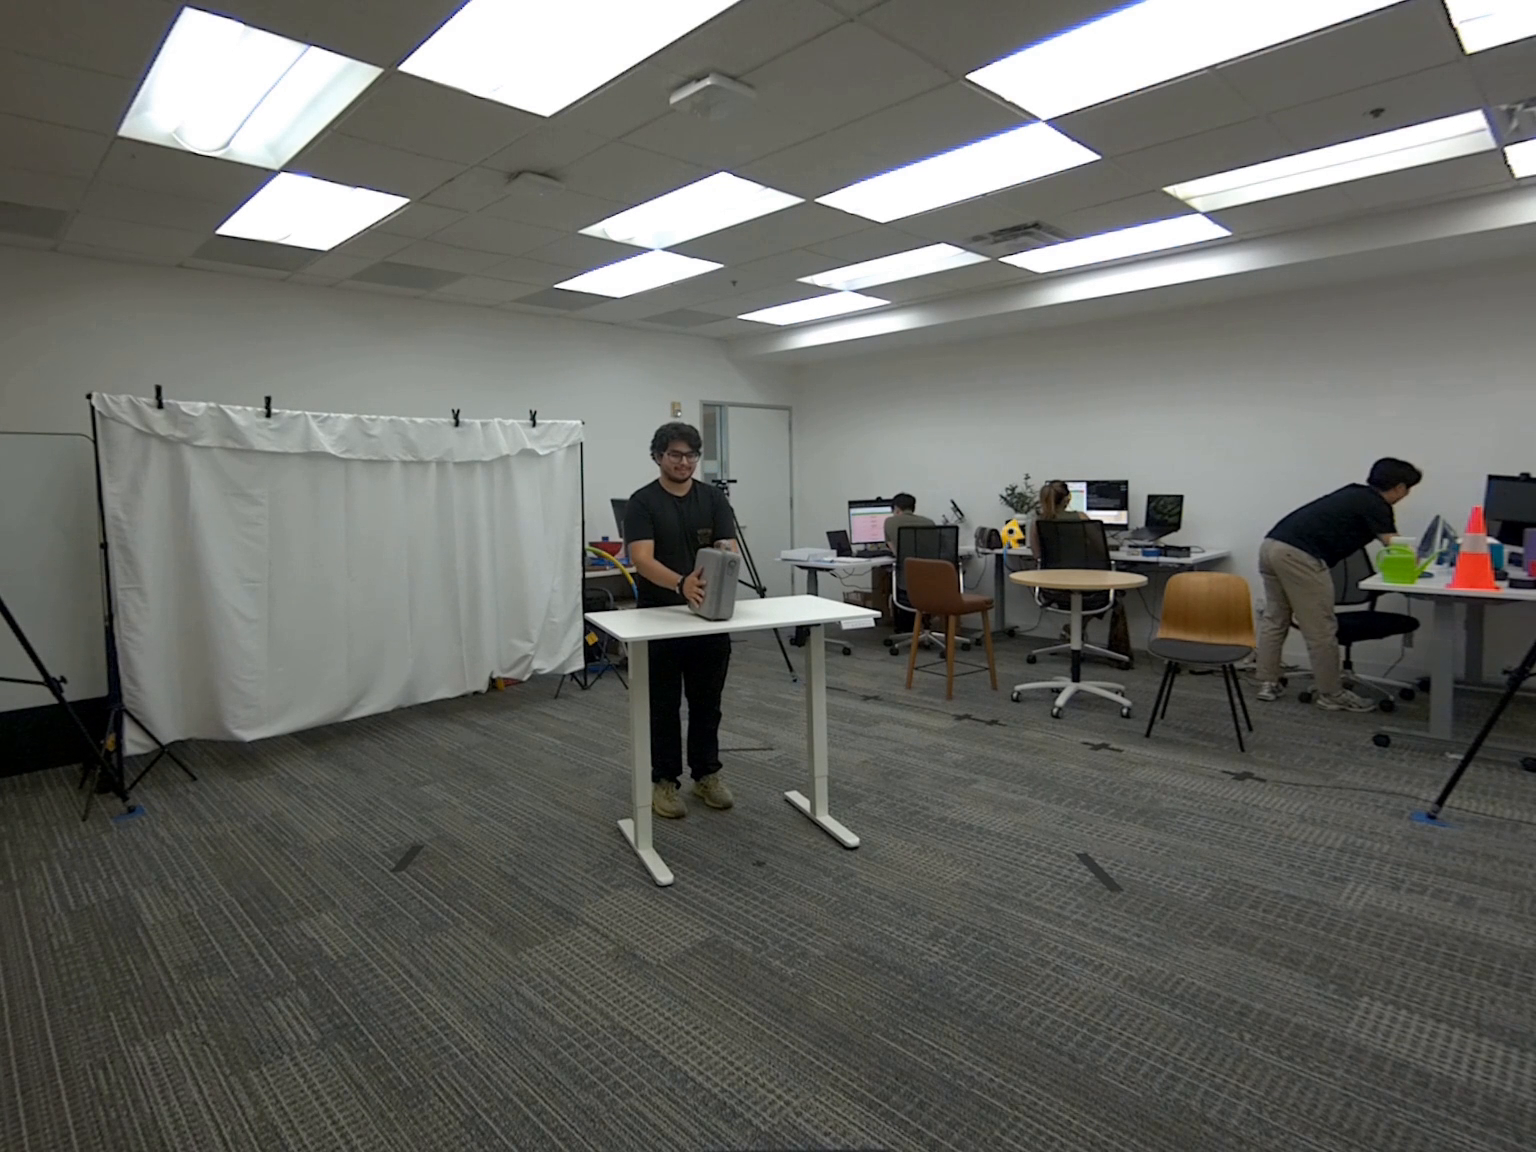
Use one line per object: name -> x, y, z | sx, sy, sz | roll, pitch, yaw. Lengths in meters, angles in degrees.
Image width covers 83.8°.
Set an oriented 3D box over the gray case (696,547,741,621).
gray case -> -0.202, 0.026, 3.218 | 0.102, 0.260, 0.261 | 8, 1, -17
